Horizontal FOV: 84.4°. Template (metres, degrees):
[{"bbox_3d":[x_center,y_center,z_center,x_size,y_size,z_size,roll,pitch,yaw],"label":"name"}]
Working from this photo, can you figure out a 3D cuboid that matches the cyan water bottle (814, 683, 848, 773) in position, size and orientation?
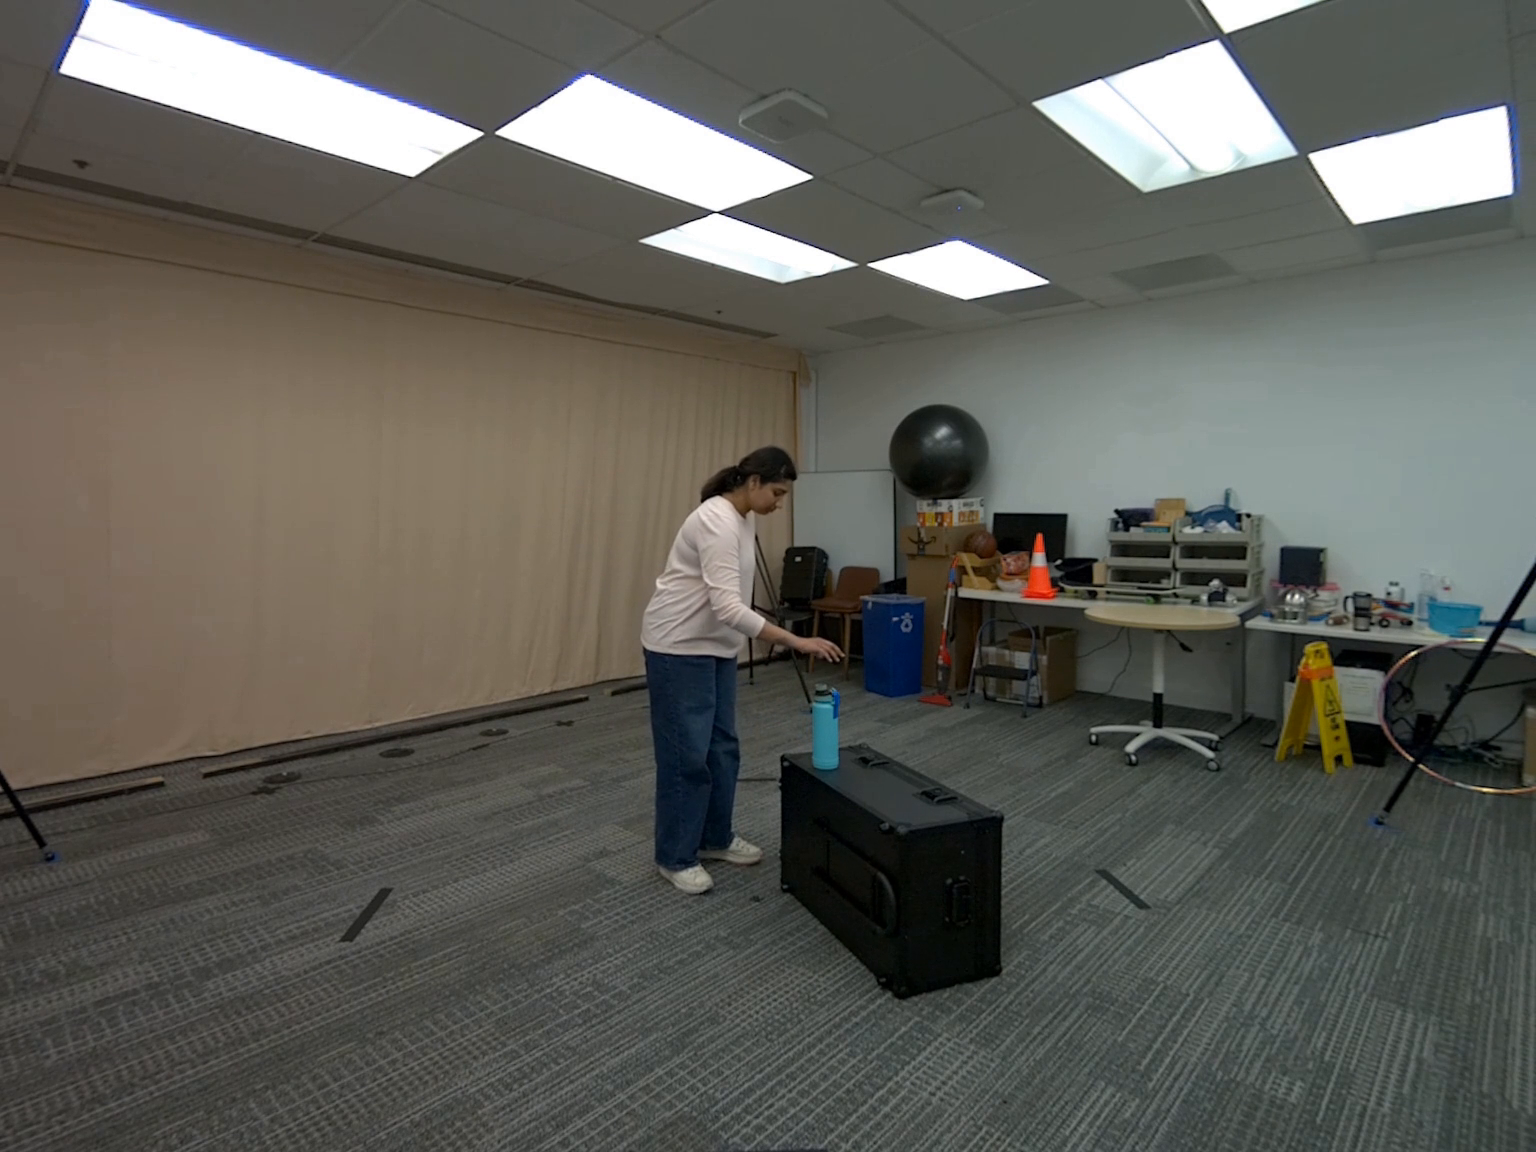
[{"bbox_3d":[0.215,0.524,2.935,0.092,0.283,0.092,2,3,-2],"label":"cyan water bottle"}]
